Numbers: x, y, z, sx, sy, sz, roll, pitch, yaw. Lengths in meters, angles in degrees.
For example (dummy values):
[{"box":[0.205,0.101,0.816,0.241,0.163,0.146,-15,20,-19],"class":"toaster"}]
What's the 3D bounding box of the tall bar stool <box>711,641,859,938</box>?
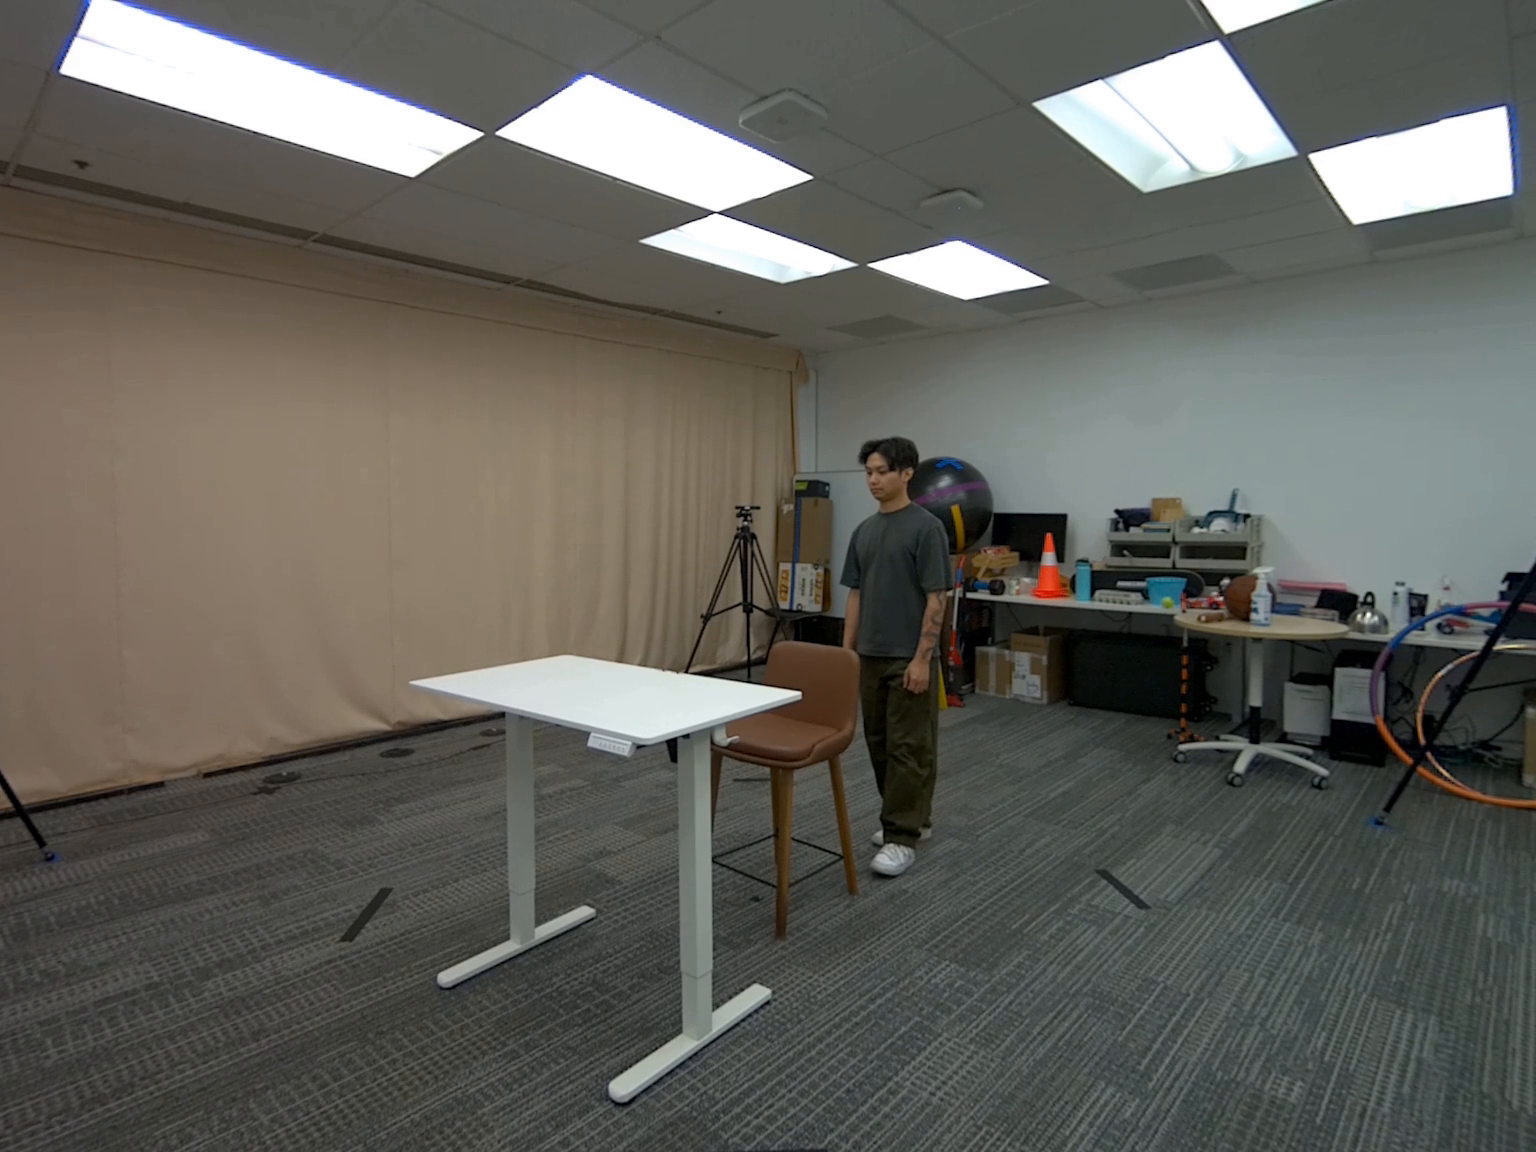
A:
[{"box":[0.051,0.708,2.980,0.472,0.888,0.453,4,3,43],"class":"tall bar stool"}]
